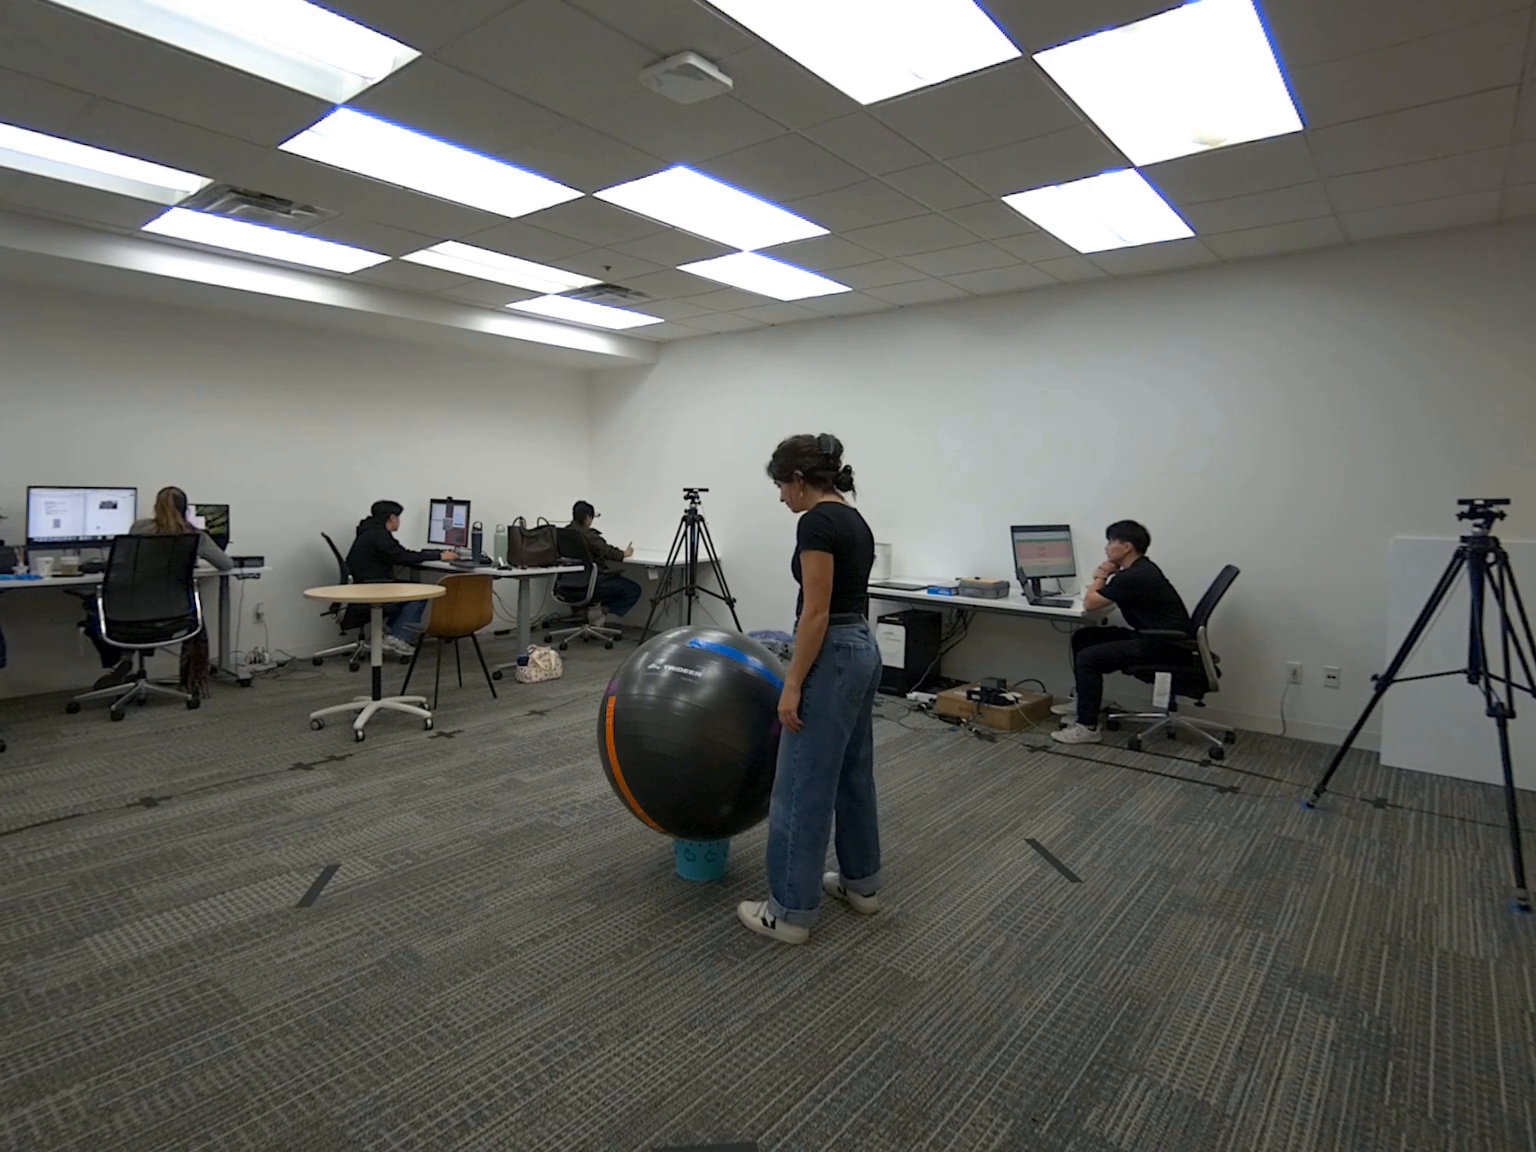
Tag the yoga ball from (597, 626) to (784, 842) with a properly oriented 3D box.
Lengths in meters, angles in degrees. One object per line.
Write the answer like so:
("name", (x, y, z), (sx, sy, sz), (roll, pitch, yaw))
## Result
("yoga ball", (-0.248, 0.560, 3.089), (0.757, 0.756, 0.762), (1, 4, -2))
